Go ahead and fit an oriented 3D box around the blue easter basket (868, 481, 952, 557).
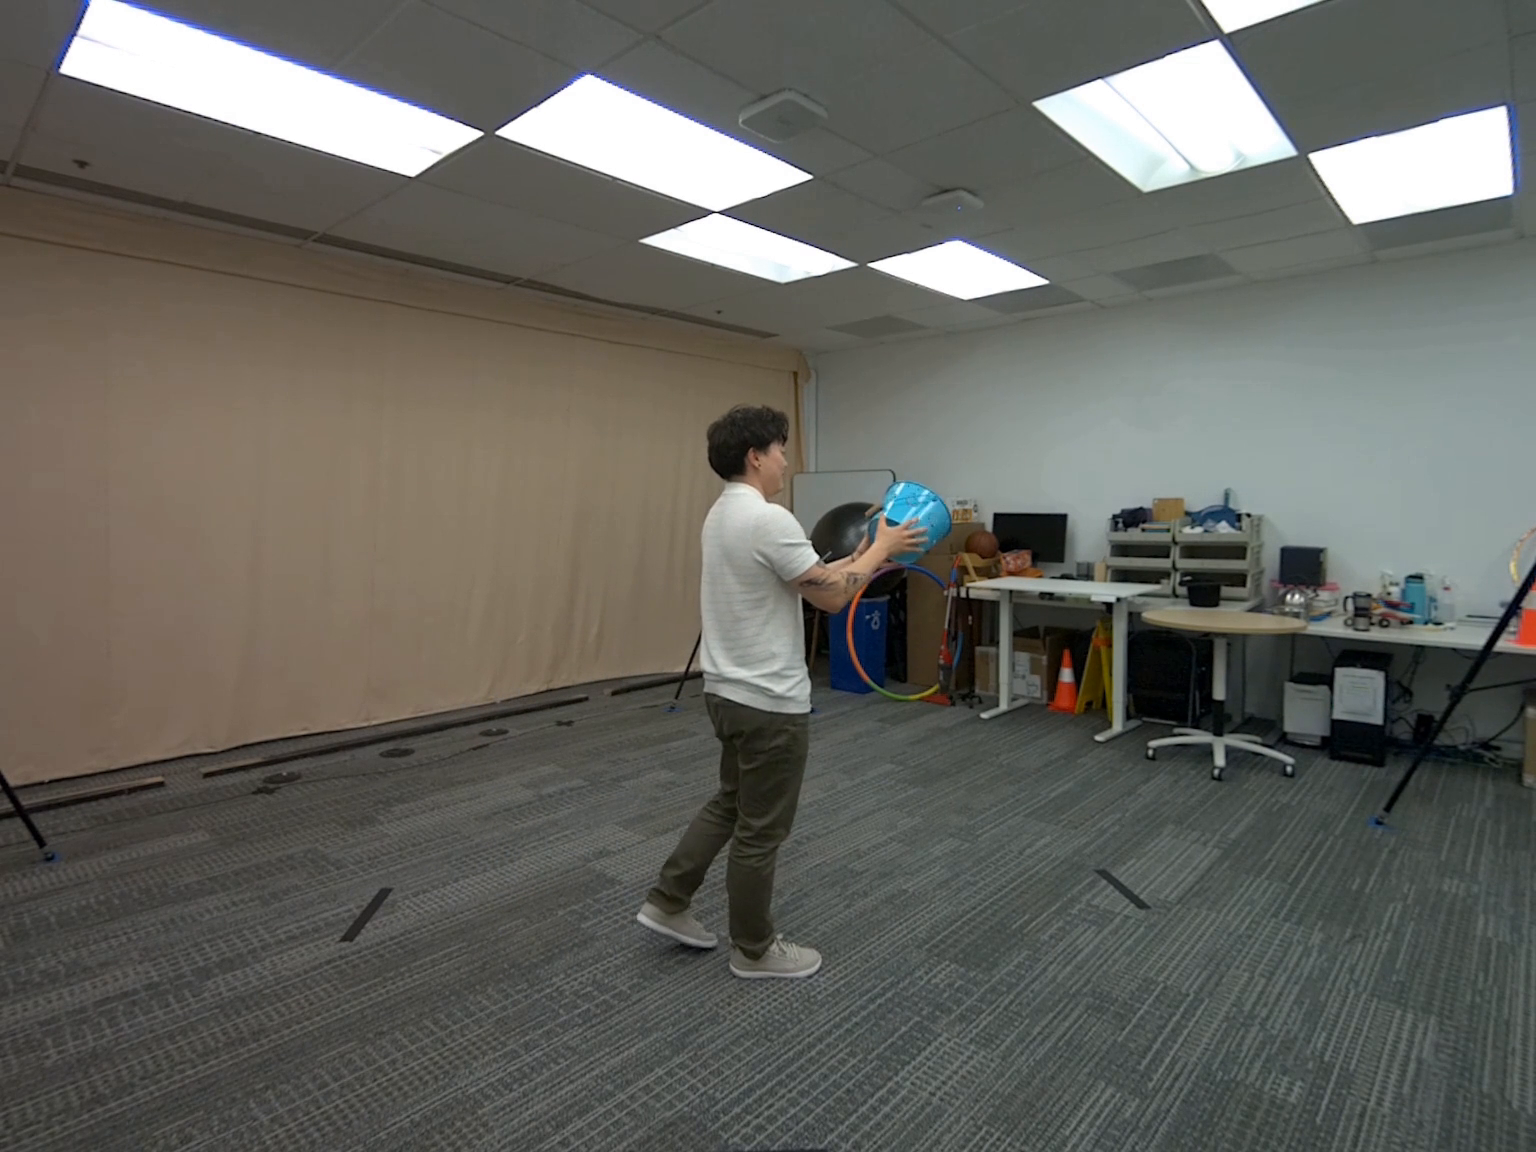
[{"bbox_3d":[0.429,-0.161,2.607,0.251,0.237,0.155,5,43,51],"label":"blue easter basket"}]
